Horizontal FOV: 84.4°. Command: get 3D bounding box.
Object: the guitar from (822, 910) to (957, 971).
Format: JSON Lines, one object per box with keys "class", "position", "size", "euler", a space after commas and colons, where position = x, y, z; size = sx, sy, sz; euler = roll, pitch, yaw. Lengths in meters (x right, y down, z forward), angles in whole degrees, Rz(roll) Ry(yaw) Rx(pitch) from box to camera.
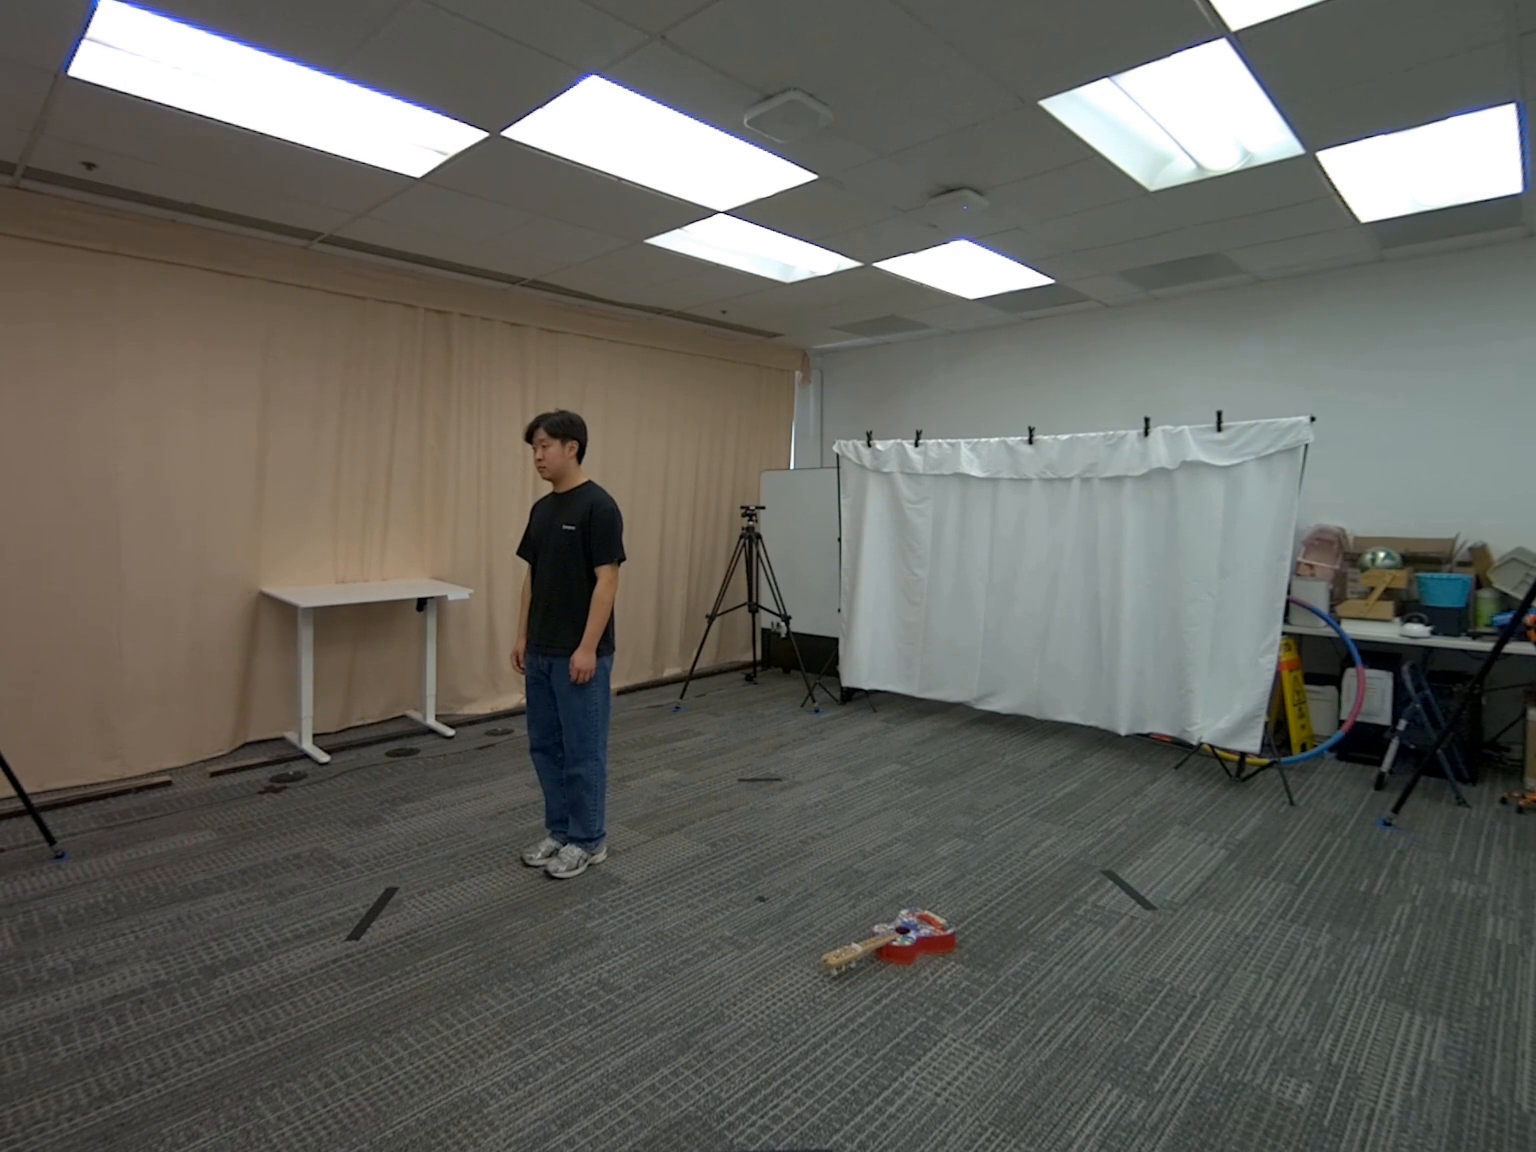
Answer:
{"class": "guitar", "position": [0.358, 1.140, 2.621], "size": [0.485, 0.070, 0.198], "euler": [-2, 5, -27]}
